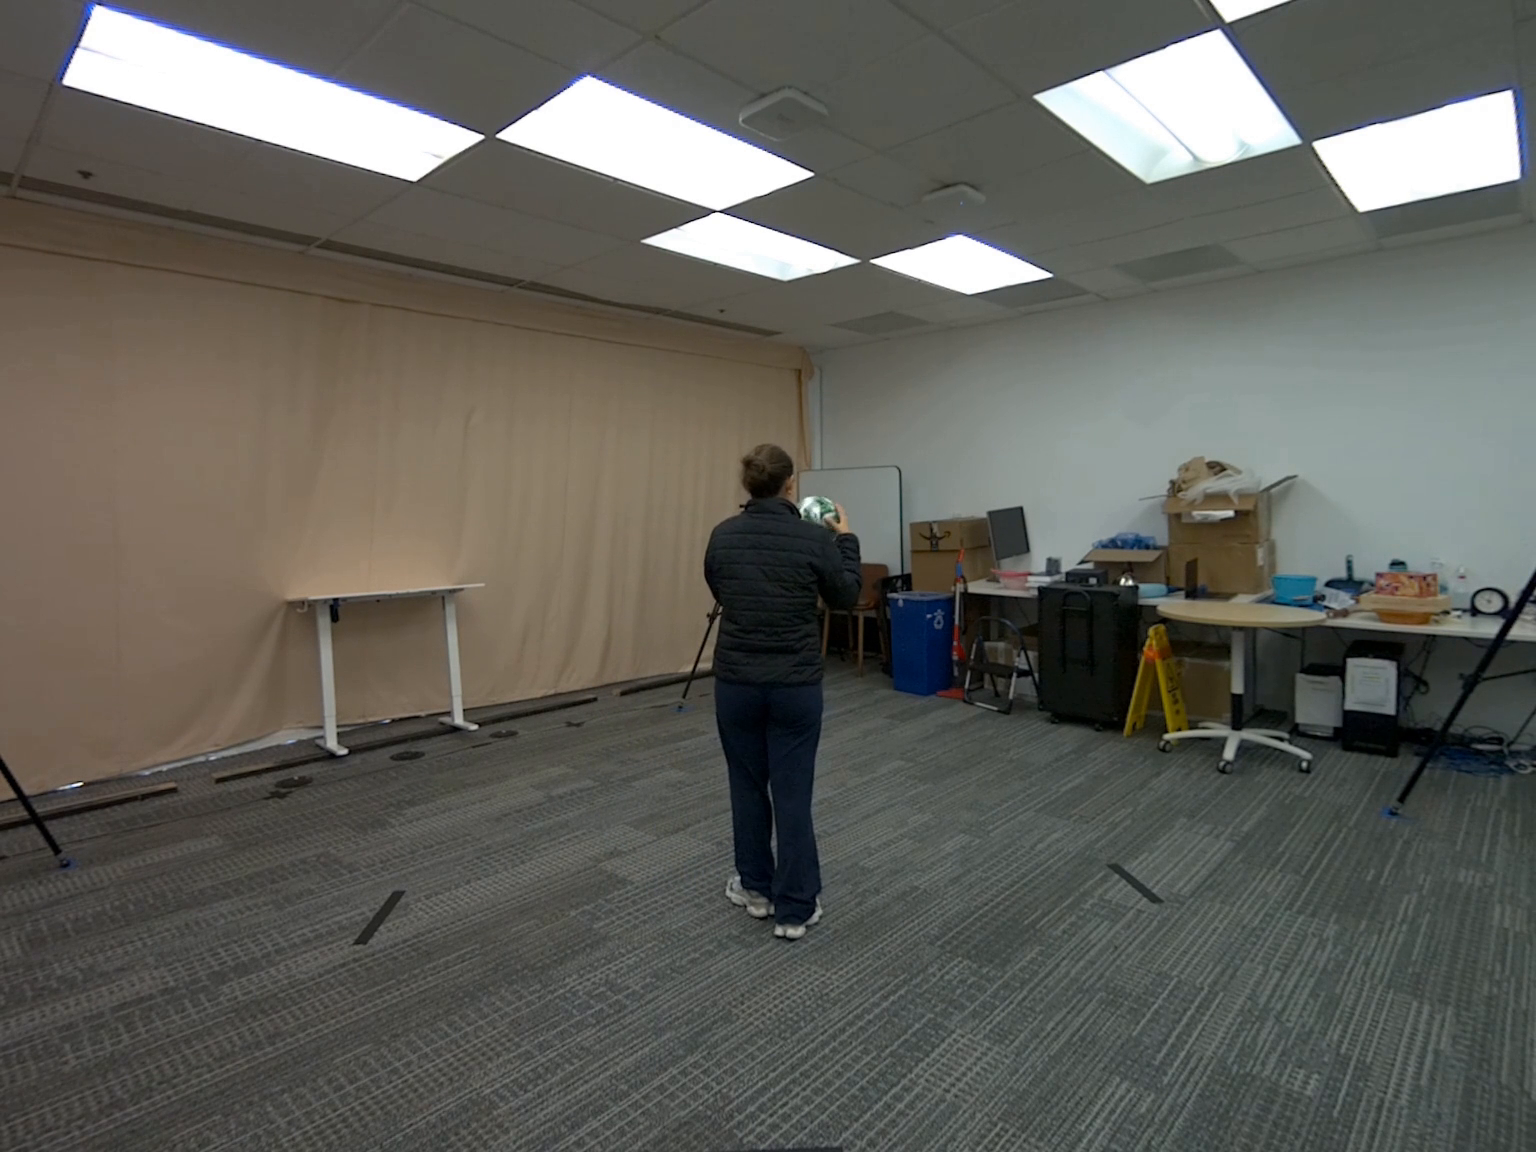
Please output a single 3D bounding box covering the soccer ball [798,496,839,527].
[{"bbox_3d":[0.179,-0.198,3.095,0.187,0.187,0.188,-1,4,-2],"label":"soccer ball"}]
